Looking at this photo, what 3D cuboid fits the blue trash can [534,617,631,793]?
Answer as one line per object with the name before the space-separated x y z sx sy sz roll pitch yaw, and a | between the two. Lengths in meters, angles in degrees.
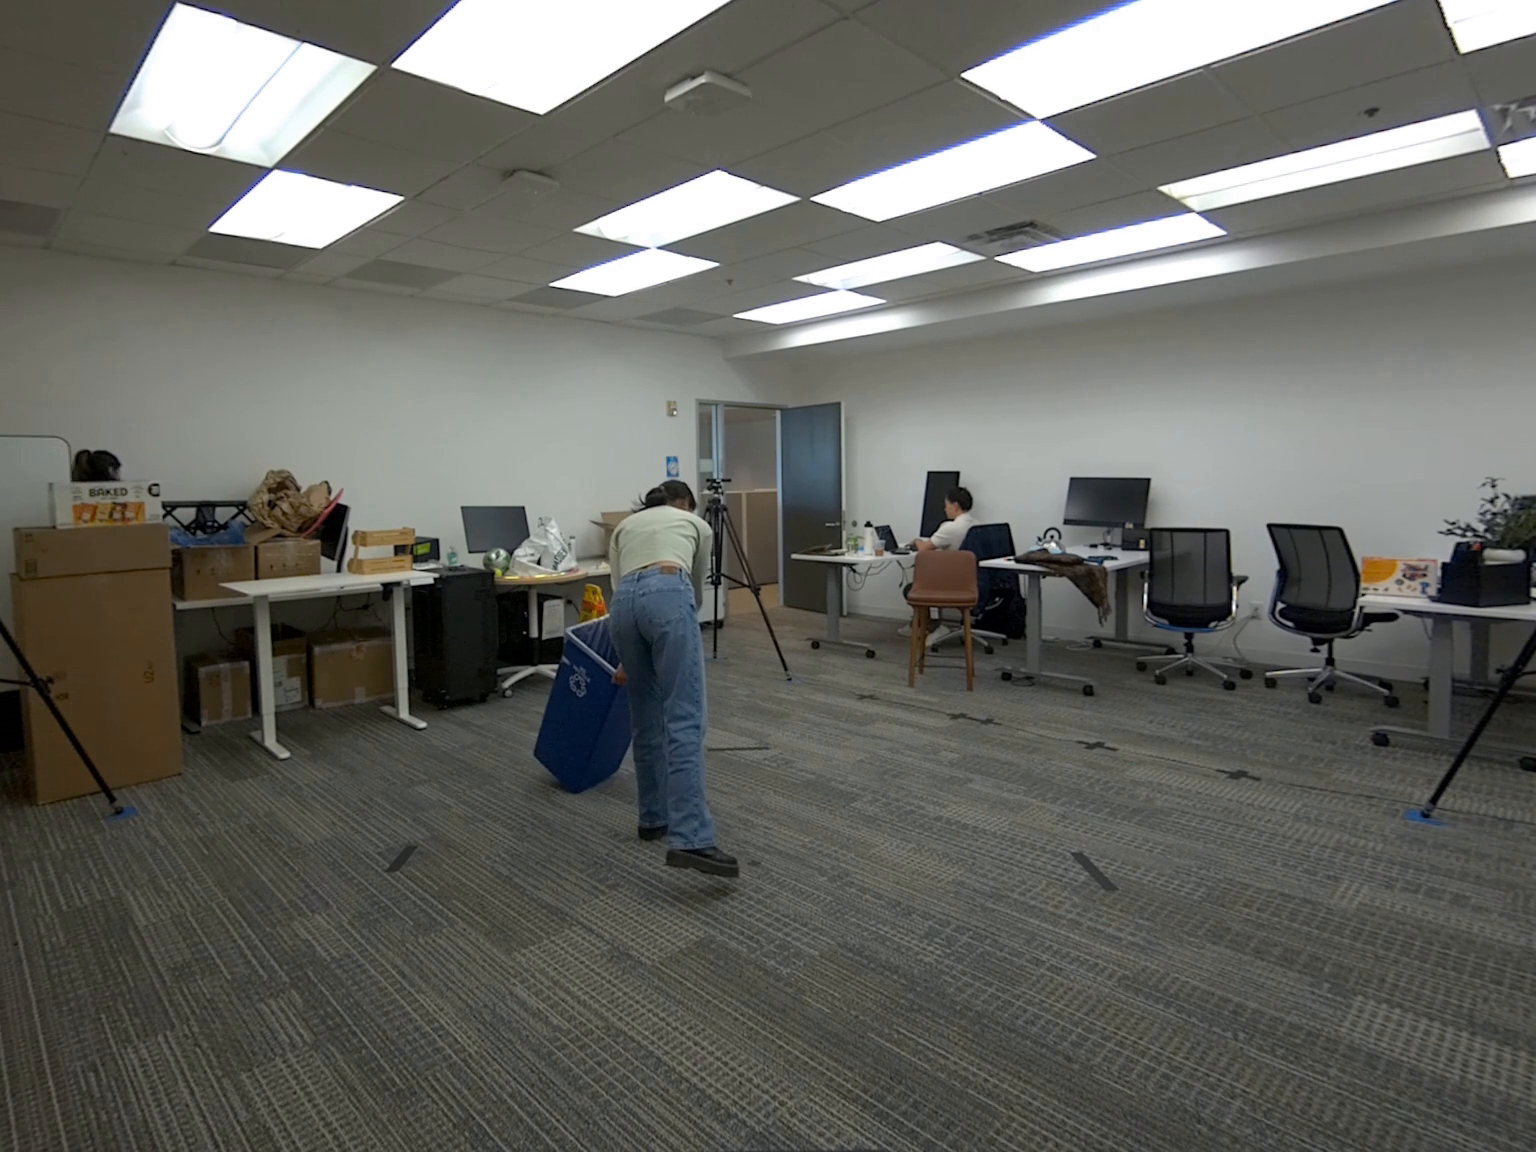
blue trash can | -0.760 0.585 3.877 0.385 0.706 0.371 34 26 24
